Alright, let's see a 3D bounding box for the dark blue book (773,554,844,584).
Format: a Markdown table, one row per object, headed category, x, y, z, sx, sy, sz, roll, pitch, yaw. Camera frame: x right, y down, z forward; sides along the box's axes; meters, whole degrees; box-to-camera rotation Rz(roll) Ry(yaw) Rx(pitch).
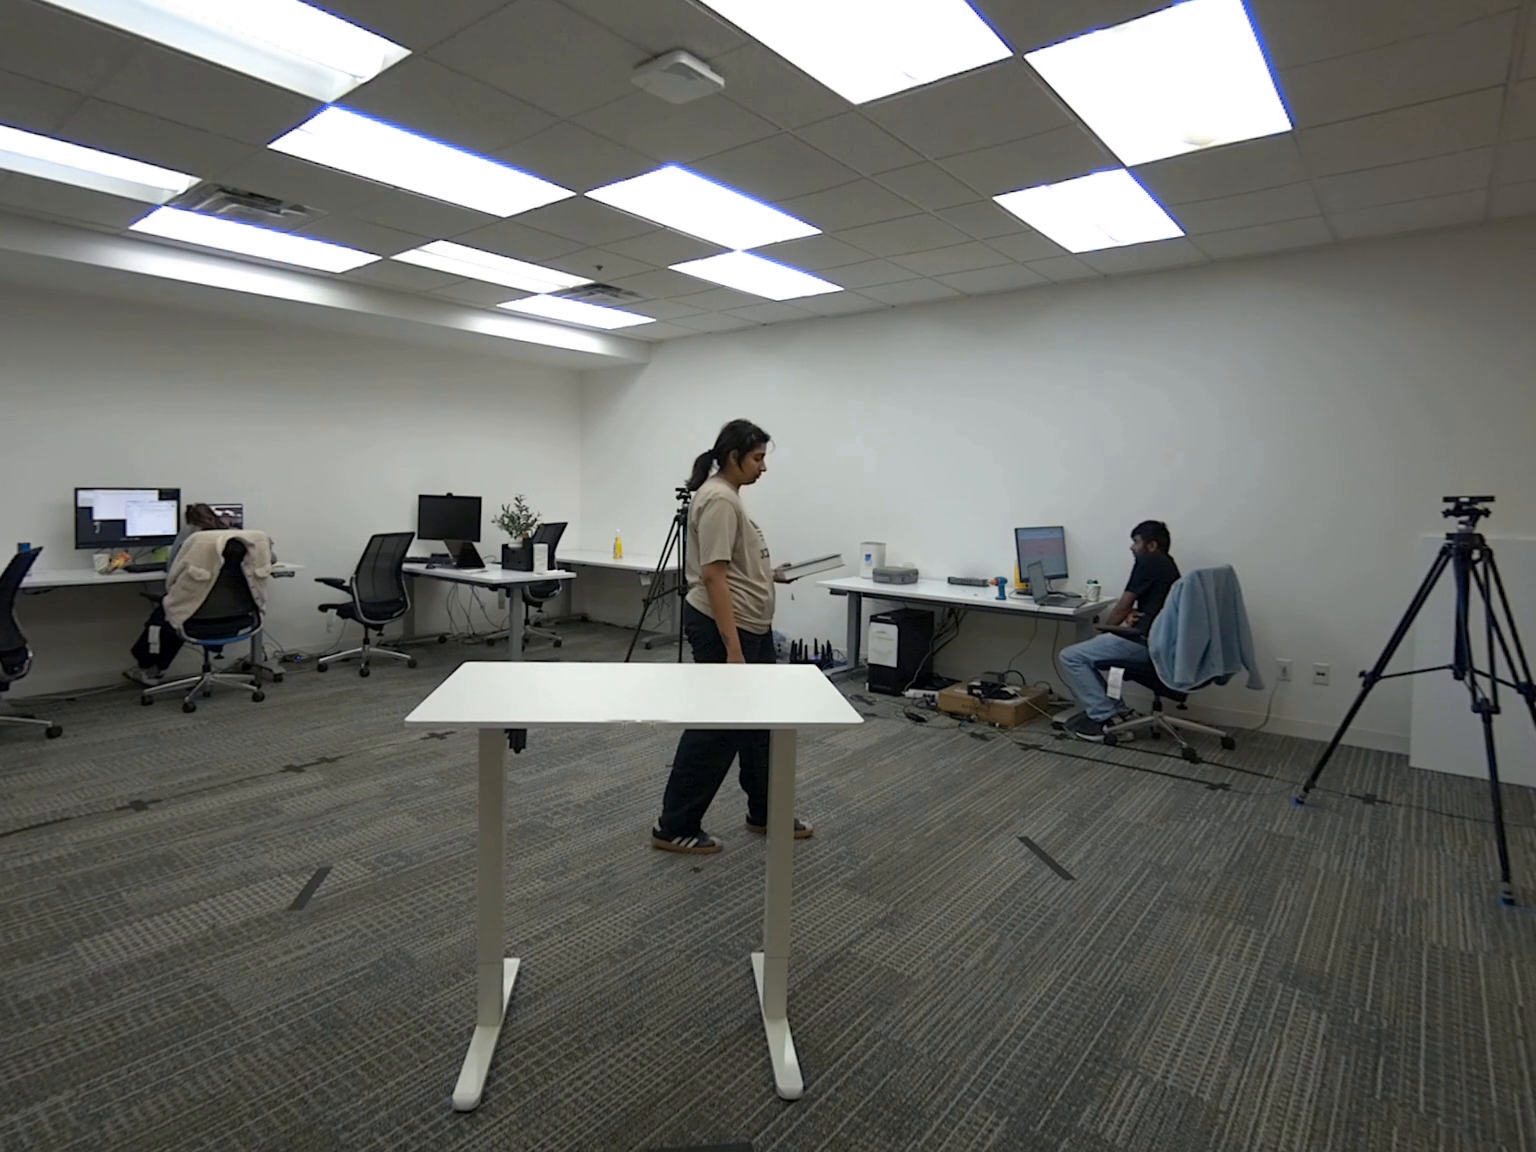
| category | x | y | z | sx | sy | sz | roll | pitch | yaw |
| --- | --- | --- | --- | --- | --- | --- | --- | --- | --- |
| dark blue book | 0.149 | -0.037 | 3.357 | 0.243 | 0.045 | 0.165 | -14 | 3 | -11 |
